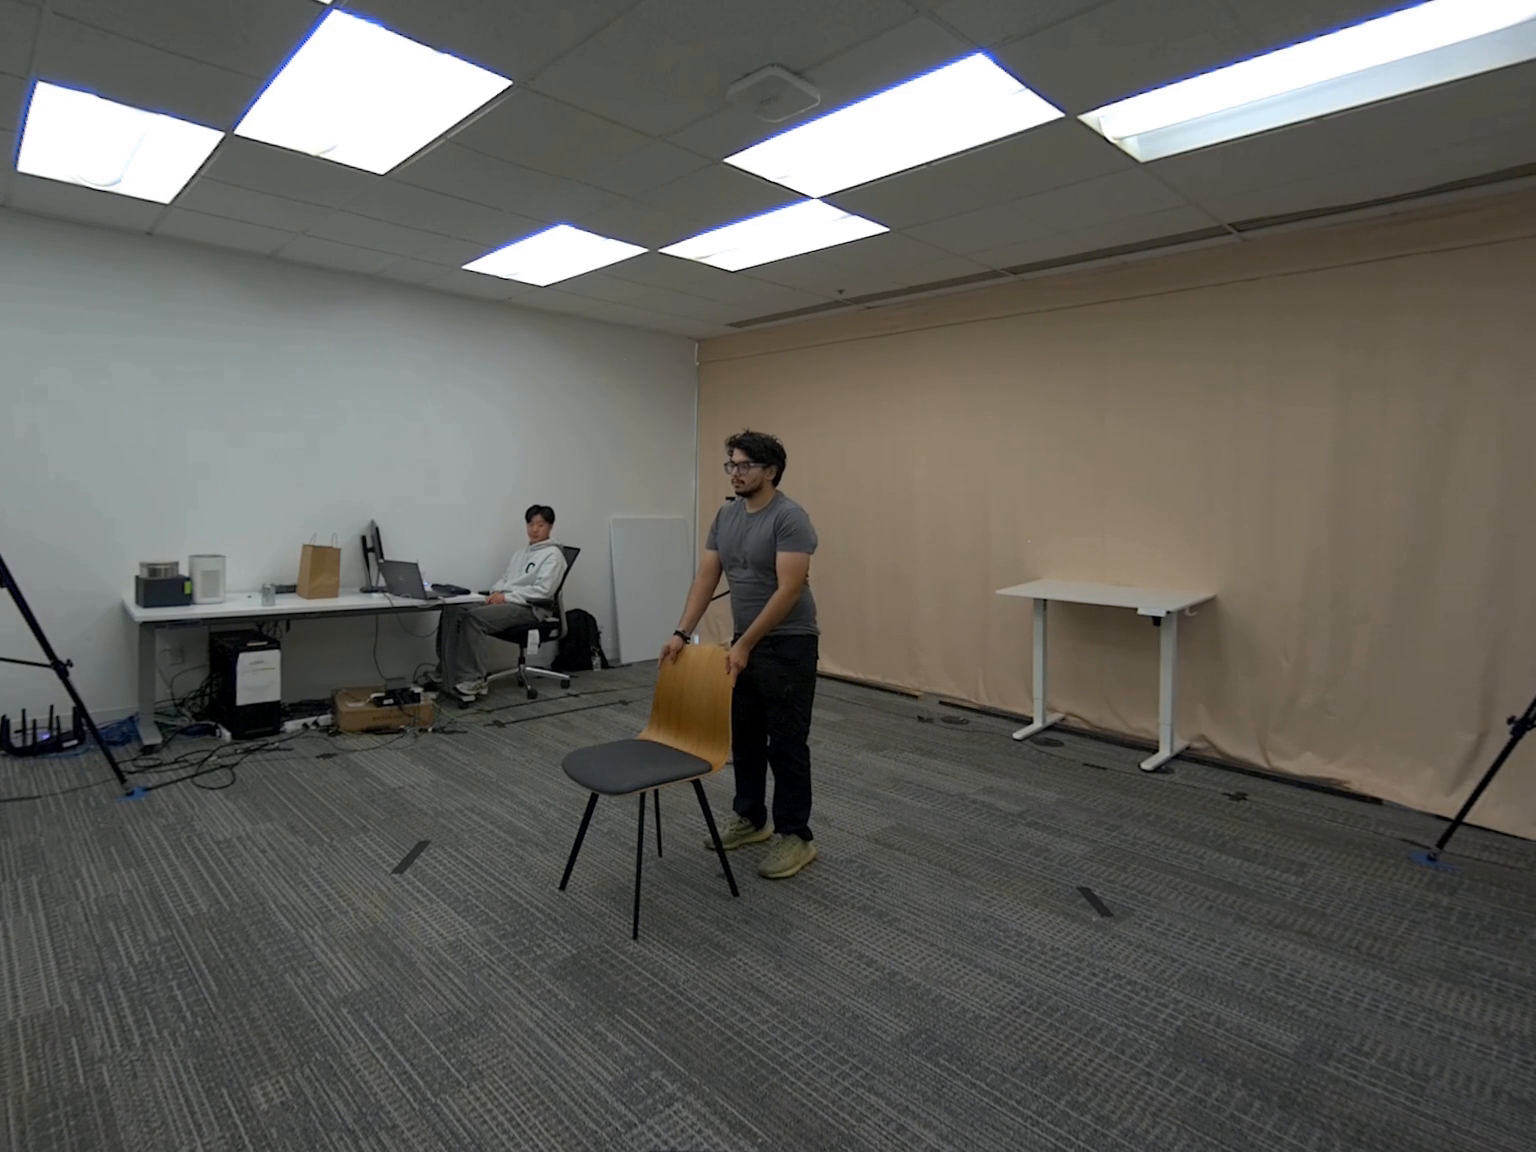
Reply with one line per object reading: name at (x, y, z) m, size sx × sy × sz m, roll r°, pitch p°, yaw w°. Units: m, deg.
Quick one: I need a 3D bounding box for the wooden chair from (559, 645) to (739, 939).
wooden chair at (-0.419, 0.689, 2.914) m, size 0.510 × 0.877 × 0.490 m, roll 4°, pitch 0°, yaw -44°
